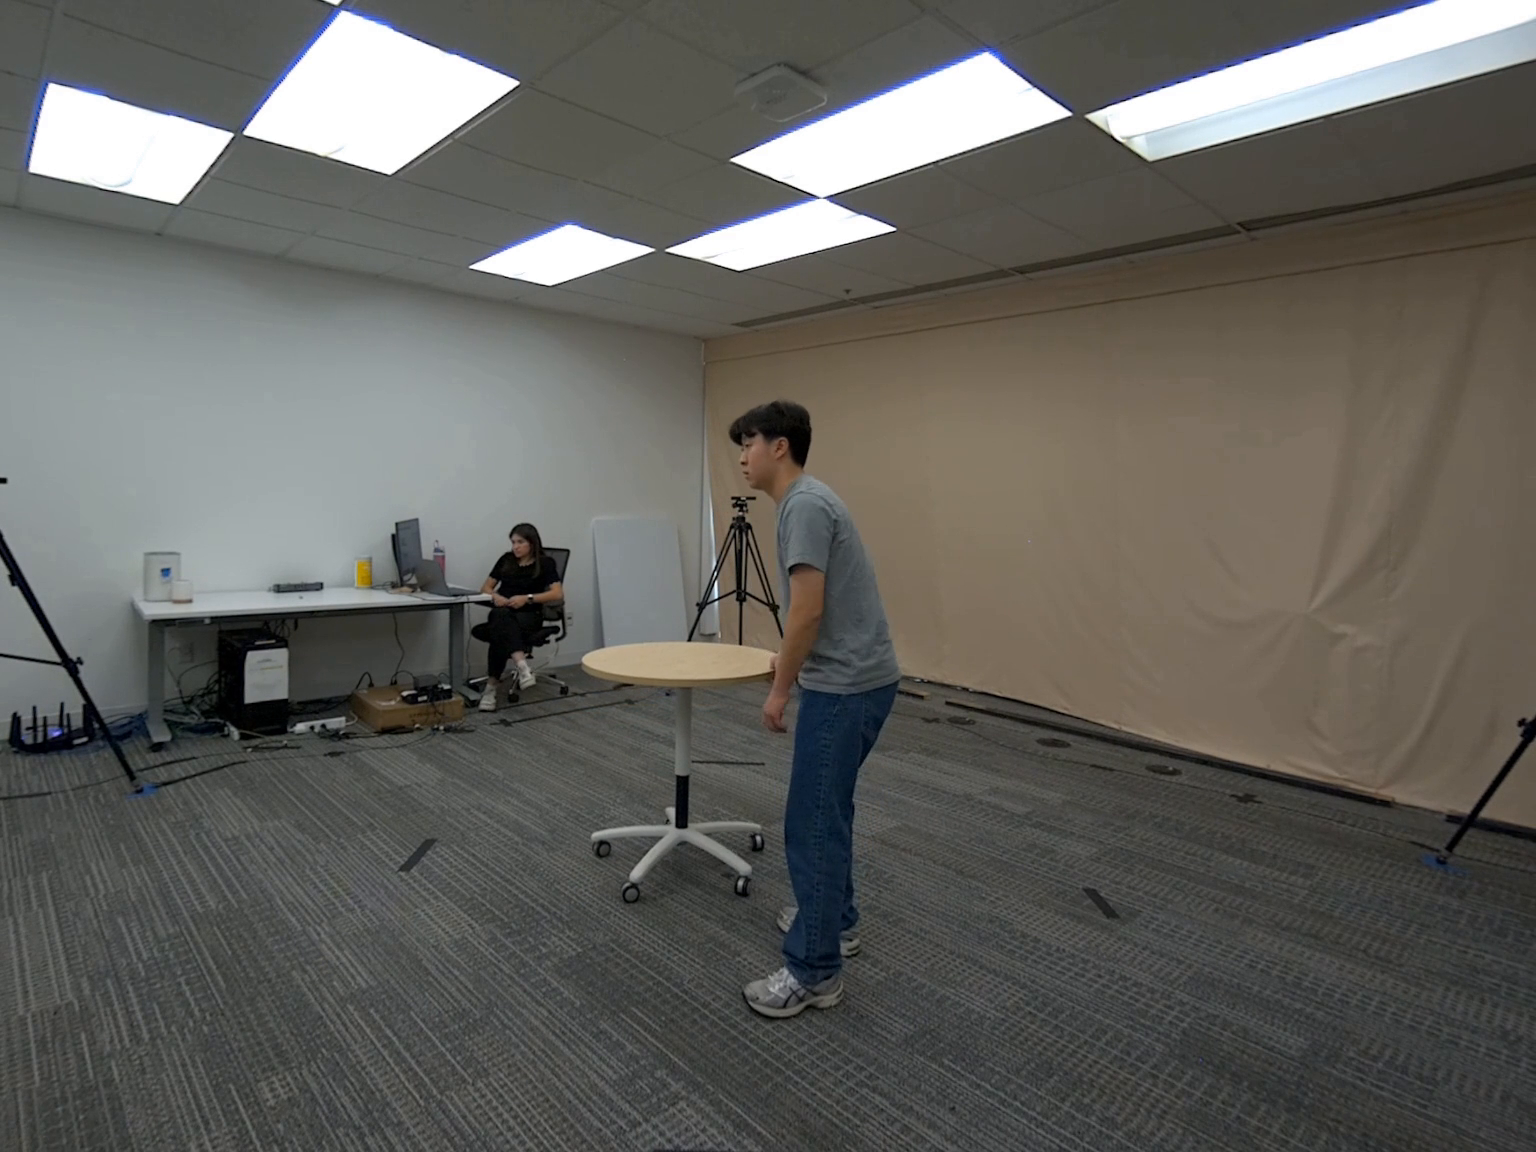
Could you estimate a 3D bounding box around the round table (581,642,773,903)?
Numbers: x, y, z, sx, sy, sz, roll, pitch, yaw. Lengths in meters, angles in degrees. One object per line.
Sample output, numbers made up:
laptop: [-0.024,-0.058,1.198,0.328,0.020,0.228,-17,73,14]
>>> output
round table: [-0.324,0.706,3.181,0.763,0.792,0.766,1,4,-1]
